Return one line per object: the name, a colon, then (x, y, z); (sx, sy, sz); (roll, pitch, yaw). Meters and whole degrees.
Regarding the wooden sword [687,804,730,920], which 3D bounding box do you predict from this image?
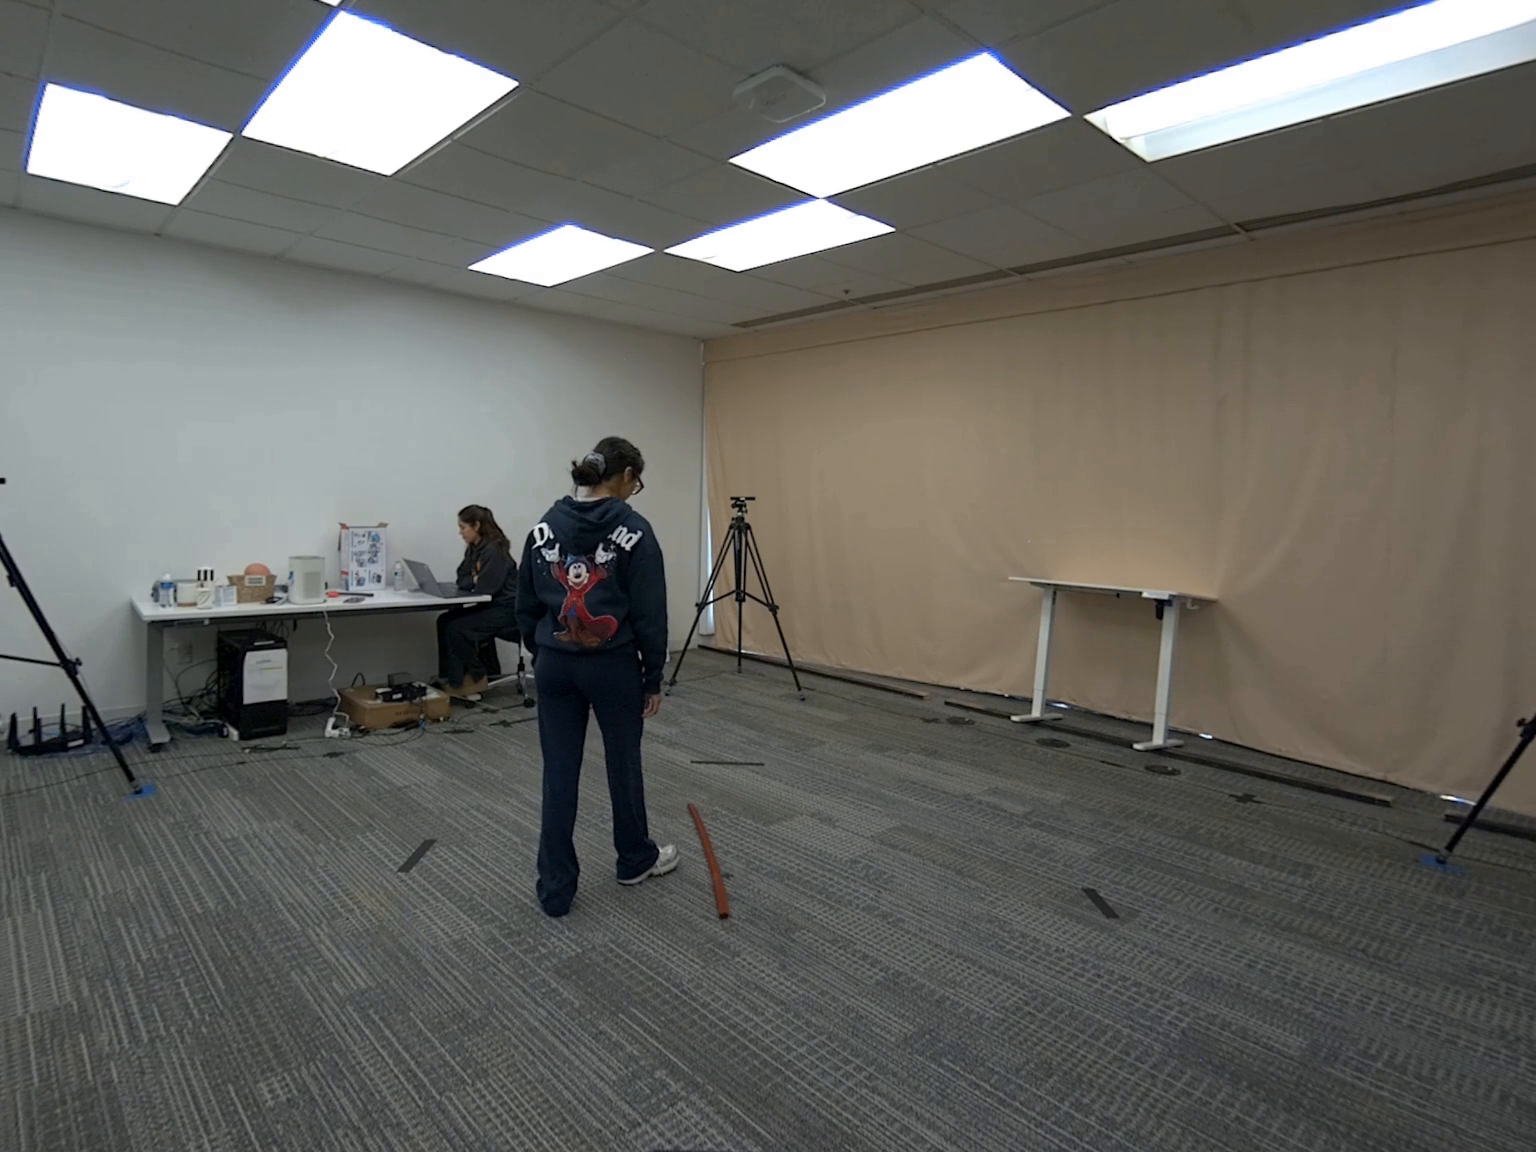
wooden sword: (-0.241, 1.067, 3.286); (0.051, 0.024, 1.036); (-21, 9, -8)
